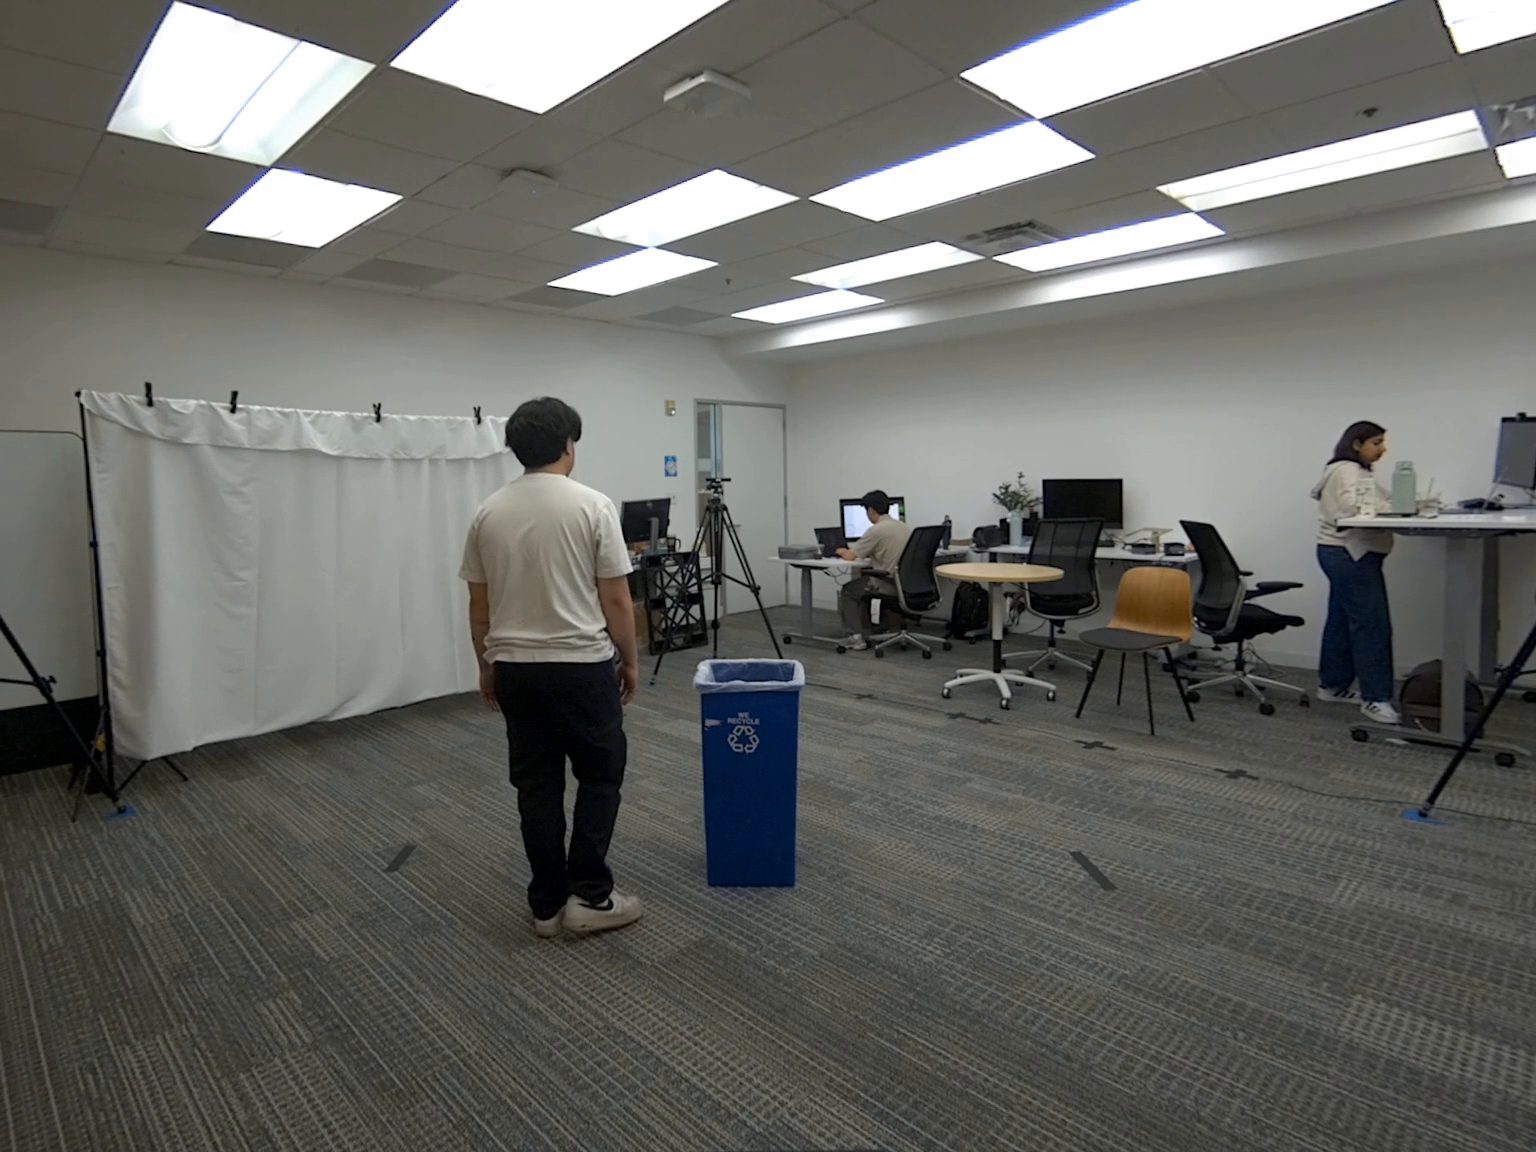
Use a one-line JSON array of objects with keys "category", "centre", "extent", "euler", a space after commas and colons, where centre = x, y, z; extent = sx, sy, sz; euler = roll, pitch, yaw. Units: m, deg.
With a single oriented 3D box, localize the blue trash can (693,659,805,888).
[{"category": "blue trash can", "centre": [-0.054, 0.692, 3.050], "extent": [0.375, 0.711, 0.379], "euler": [-1, 4, 2]}]
